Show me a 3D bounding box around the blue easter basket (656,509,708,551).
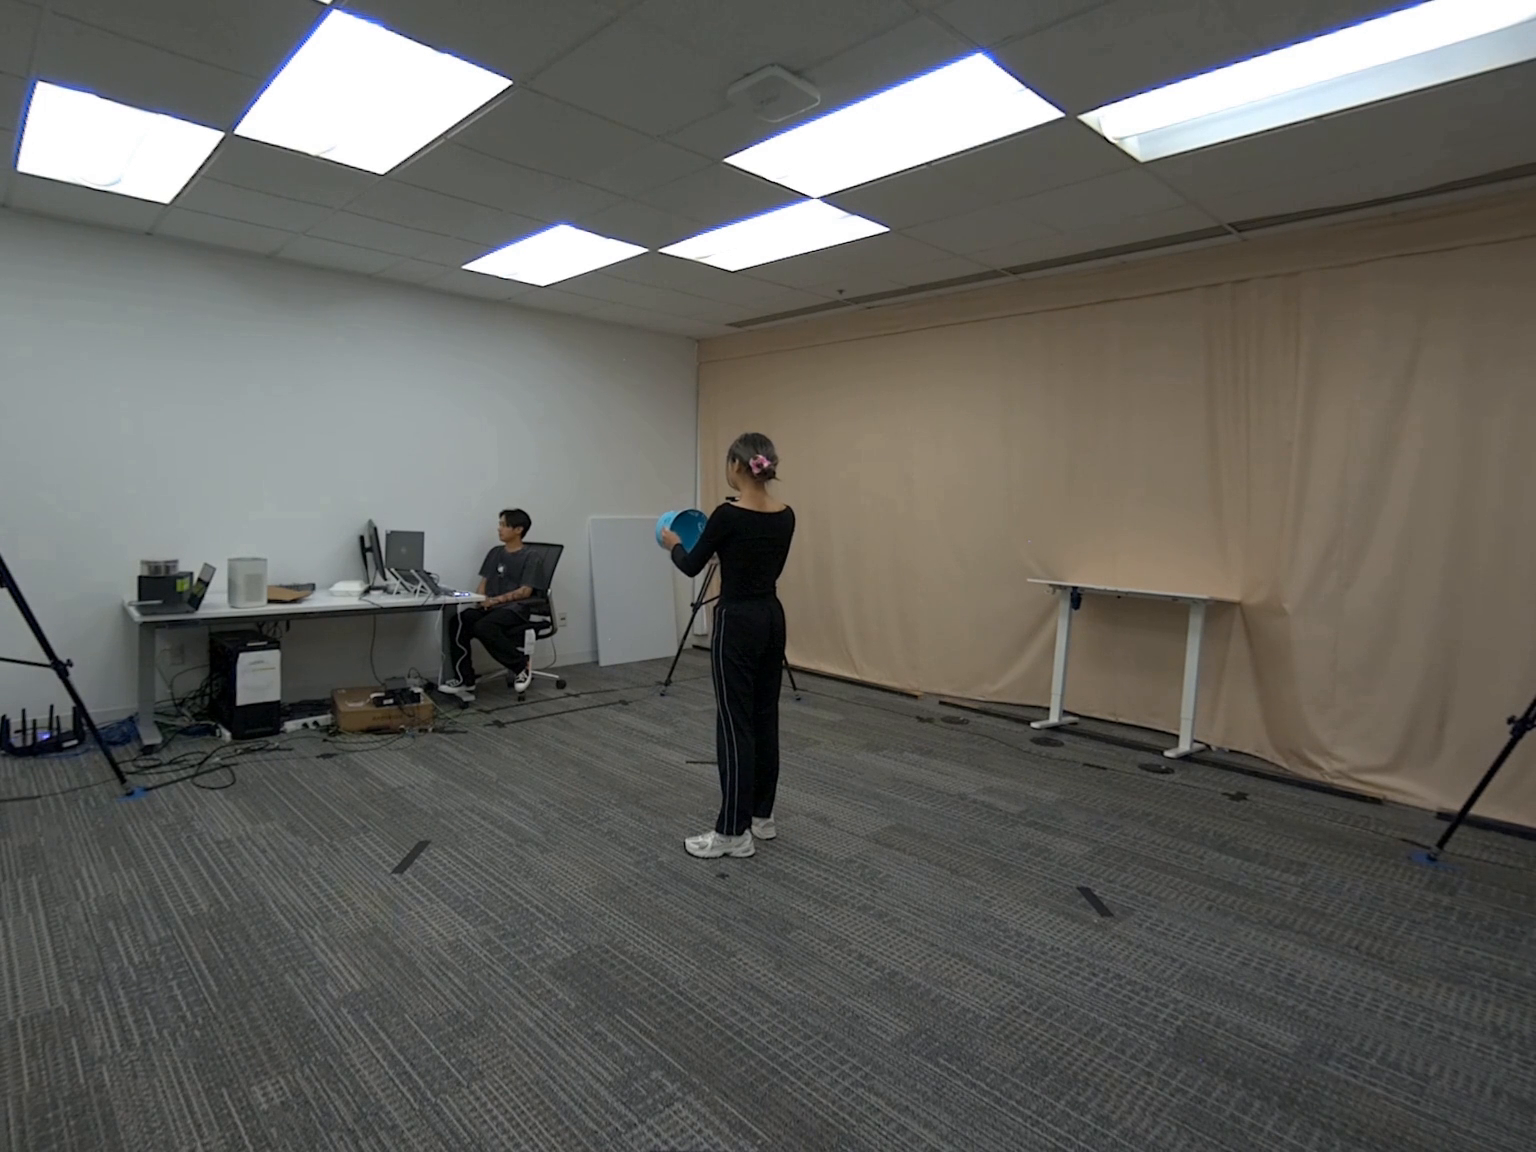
[{"bbox_3d":[-0.385,-0.194,3.743,0.238,0.242,0.160,-2,7,-37],"label":"blue easter basket"}]
